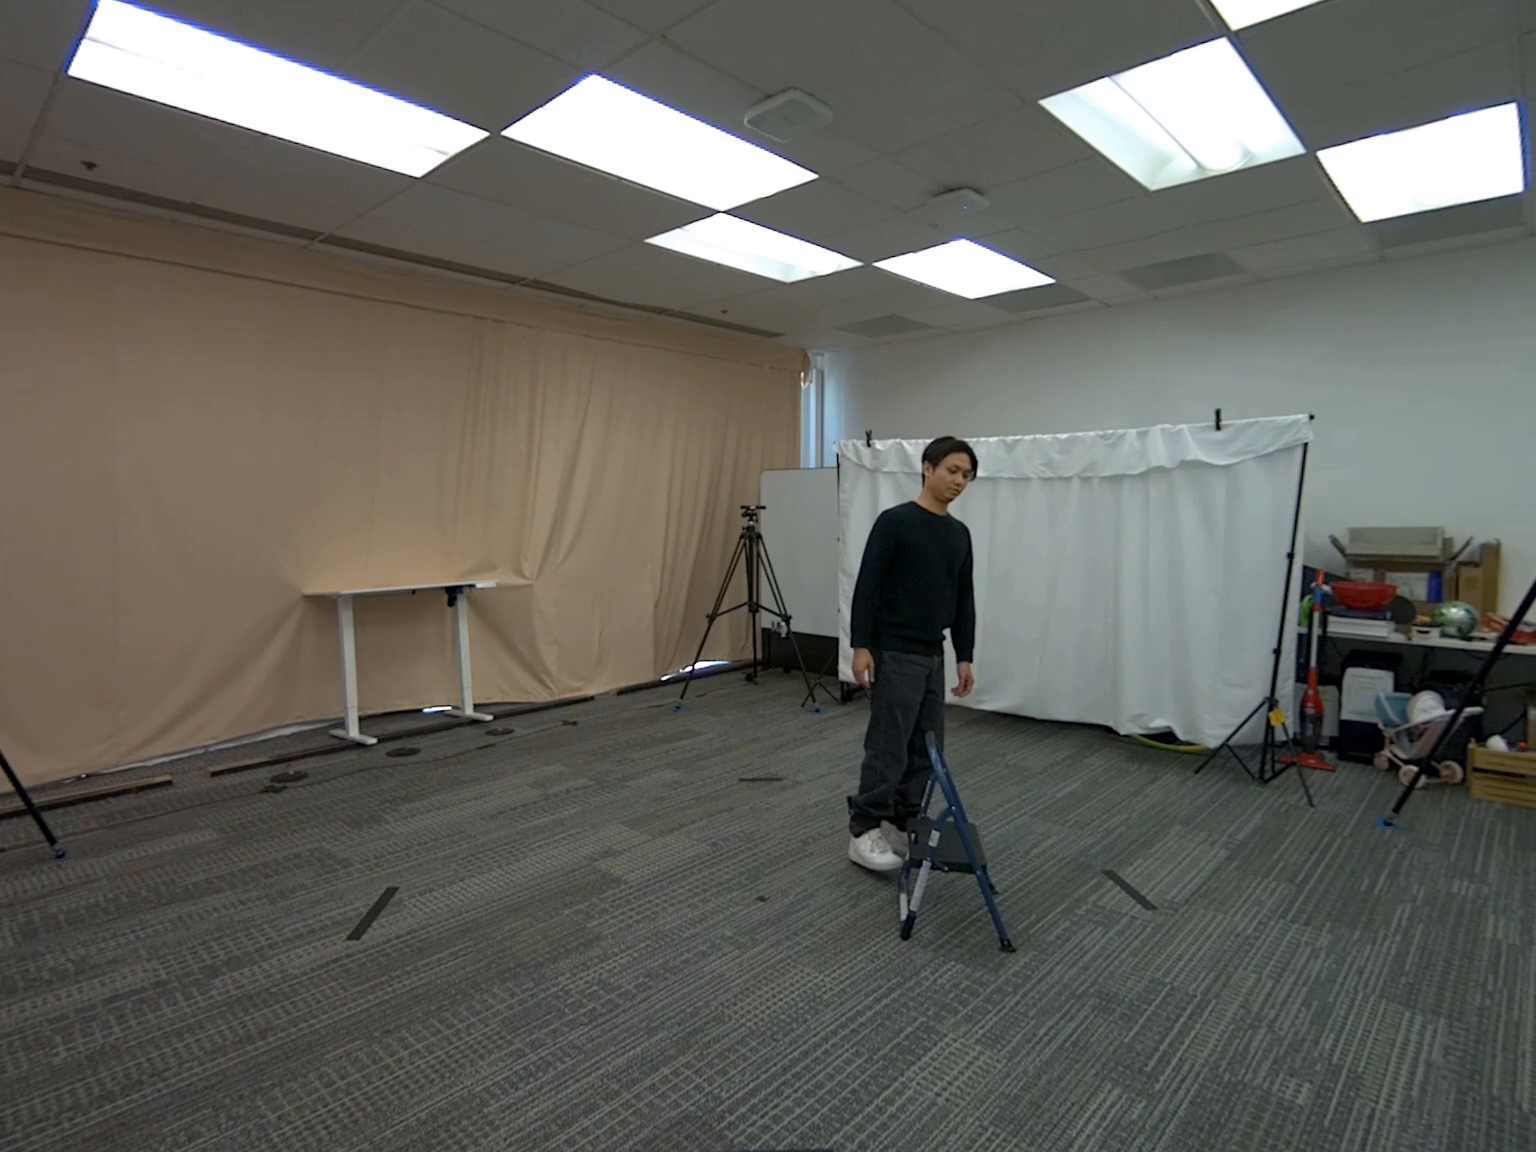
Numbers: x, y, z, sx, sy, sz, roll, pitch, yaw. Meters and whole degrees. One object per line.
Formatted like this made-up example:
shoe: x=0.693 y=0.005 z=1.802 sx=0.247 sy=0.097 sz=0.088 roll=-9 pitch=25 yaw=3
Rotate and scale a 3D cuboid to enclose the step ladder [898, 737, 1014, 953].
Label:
step ladder: x=0.624 y=0.845 z=2.844 sx=0.353 sy=0.605 sz=0.427 roll=0 pitch=3 yaw=8
